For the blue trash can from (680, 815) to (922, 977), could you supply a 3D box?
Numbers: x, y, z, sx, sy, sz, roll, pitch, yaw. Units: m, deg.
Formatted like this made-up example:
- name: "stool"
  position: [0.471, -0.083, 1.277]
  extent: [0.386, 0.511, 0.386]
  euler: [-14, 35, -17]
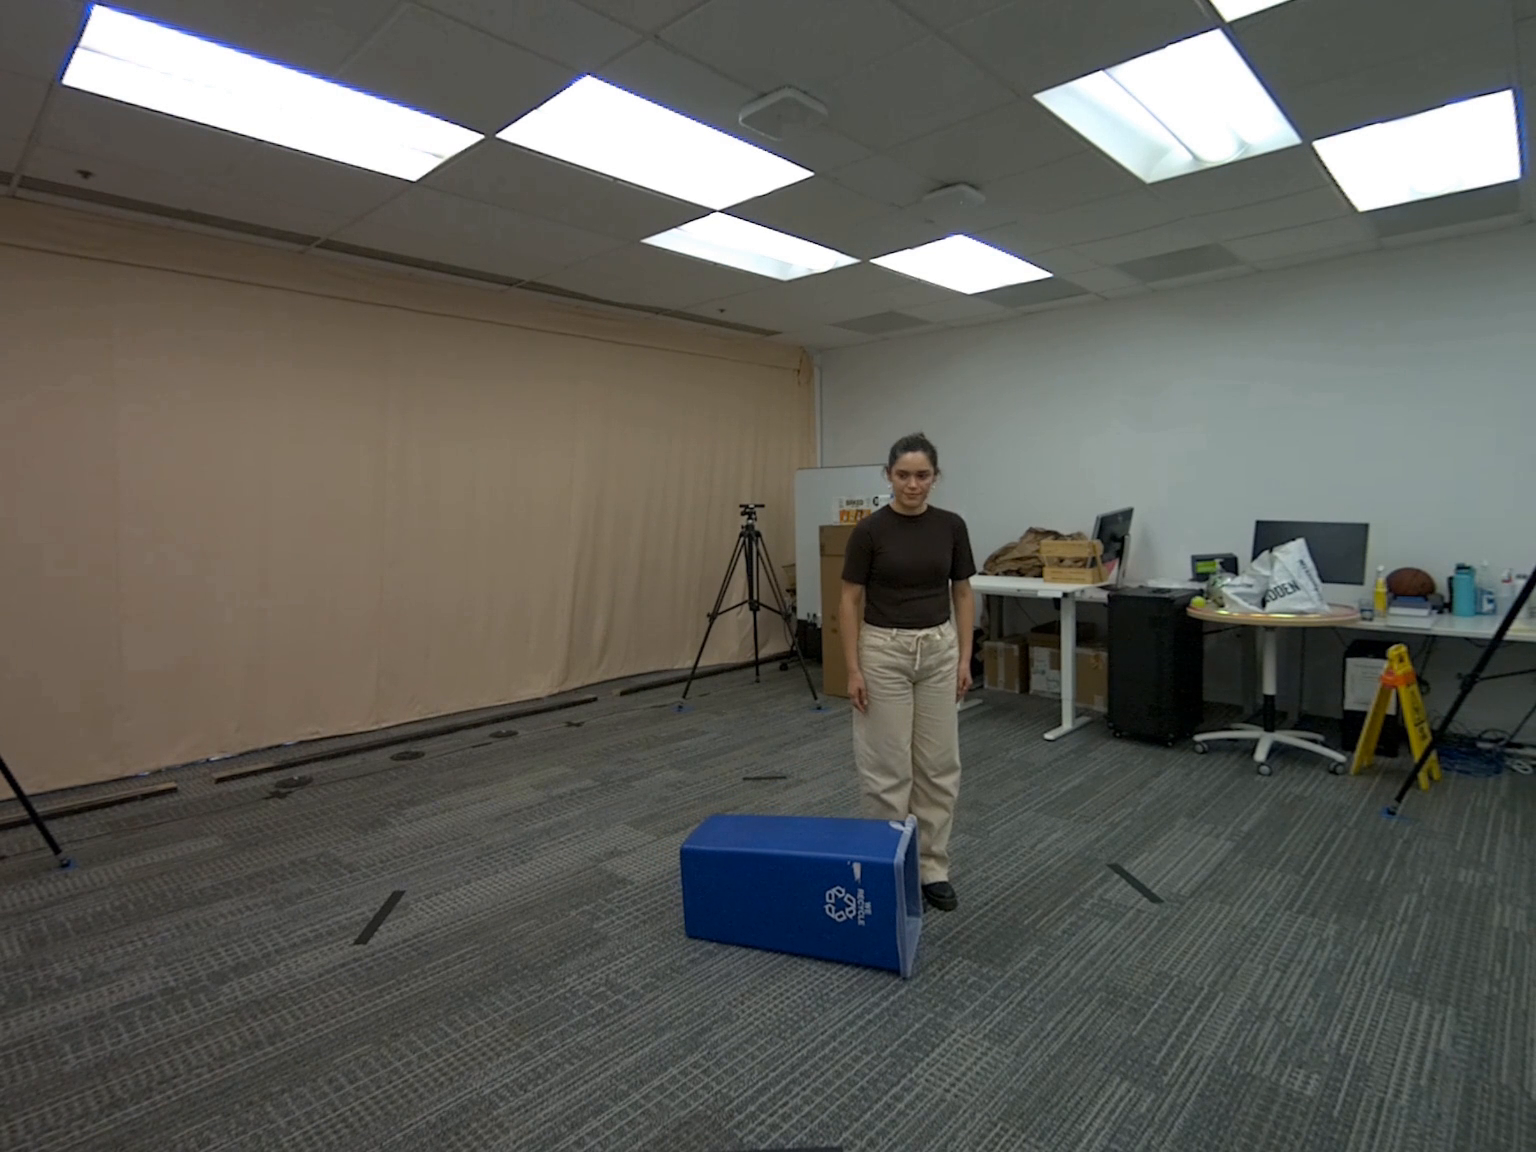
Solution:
- name: "blue trash can"
  position: [0.111, 0.991, 2.729]
  extent: [0.728, 0.373, 0.371]
  euler: [-2, 3, 20]
